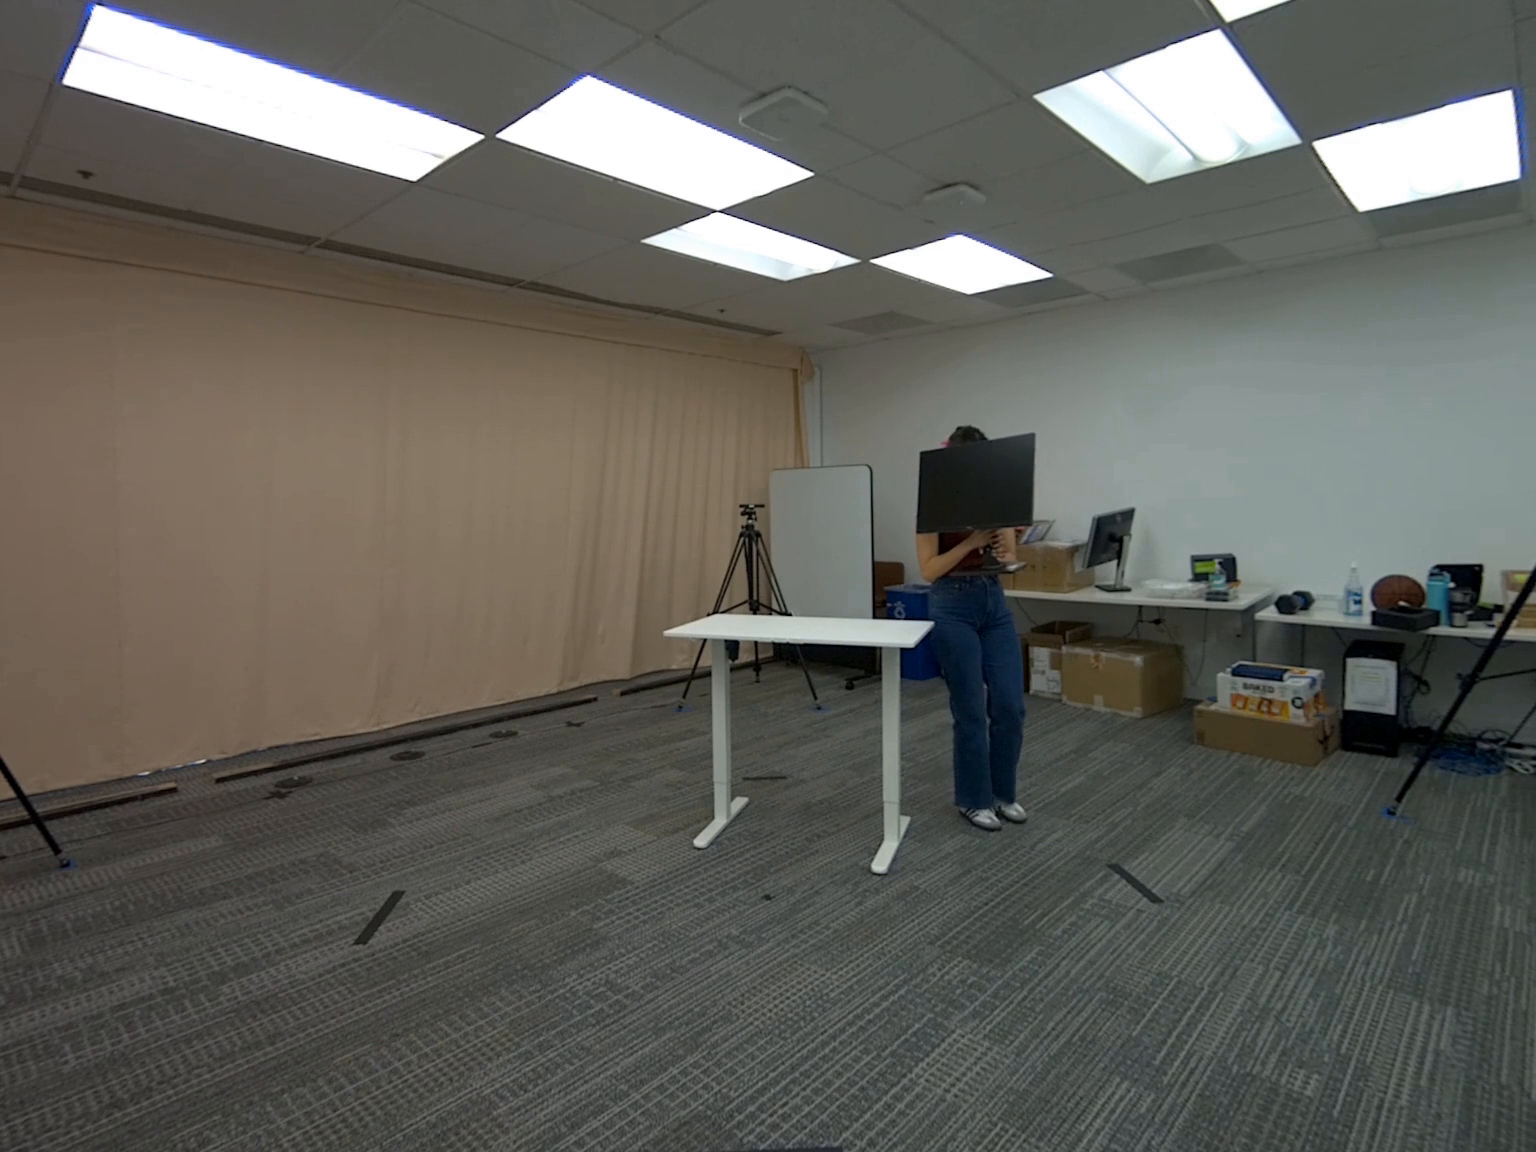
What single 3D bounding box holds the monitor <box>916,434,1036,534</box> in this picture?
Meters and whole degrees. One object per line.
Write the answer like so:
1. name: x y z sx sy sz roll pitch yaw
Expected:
1. monitor: 0.843 -0.270 3.359 0.182 0.521 0.555 -9 4 -41
